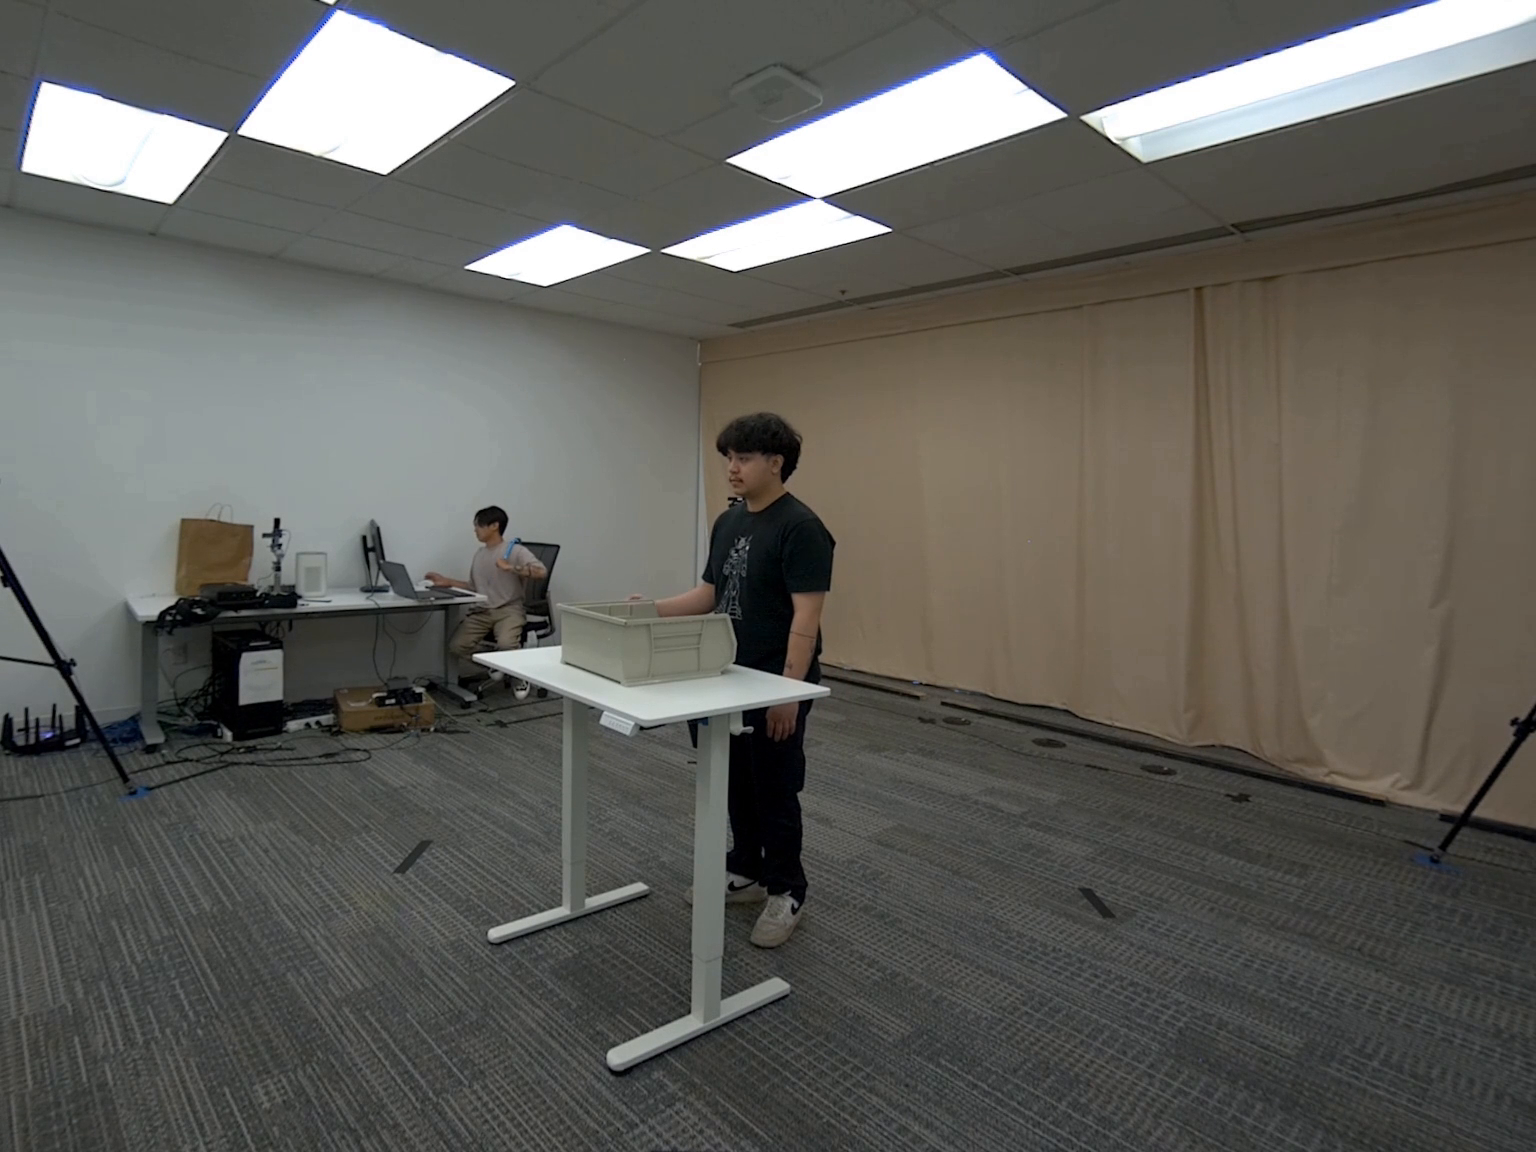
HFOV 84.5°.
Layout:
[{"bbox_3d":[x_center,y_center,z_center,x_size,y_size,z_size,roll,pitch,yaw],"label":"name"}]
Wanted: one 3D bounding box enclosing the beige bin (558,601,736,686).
[{"bbox_3d":[-0.374,0.190,2.494,0.369,0.188,0.433,-3,7,-37],"label":"beige bin"}]
